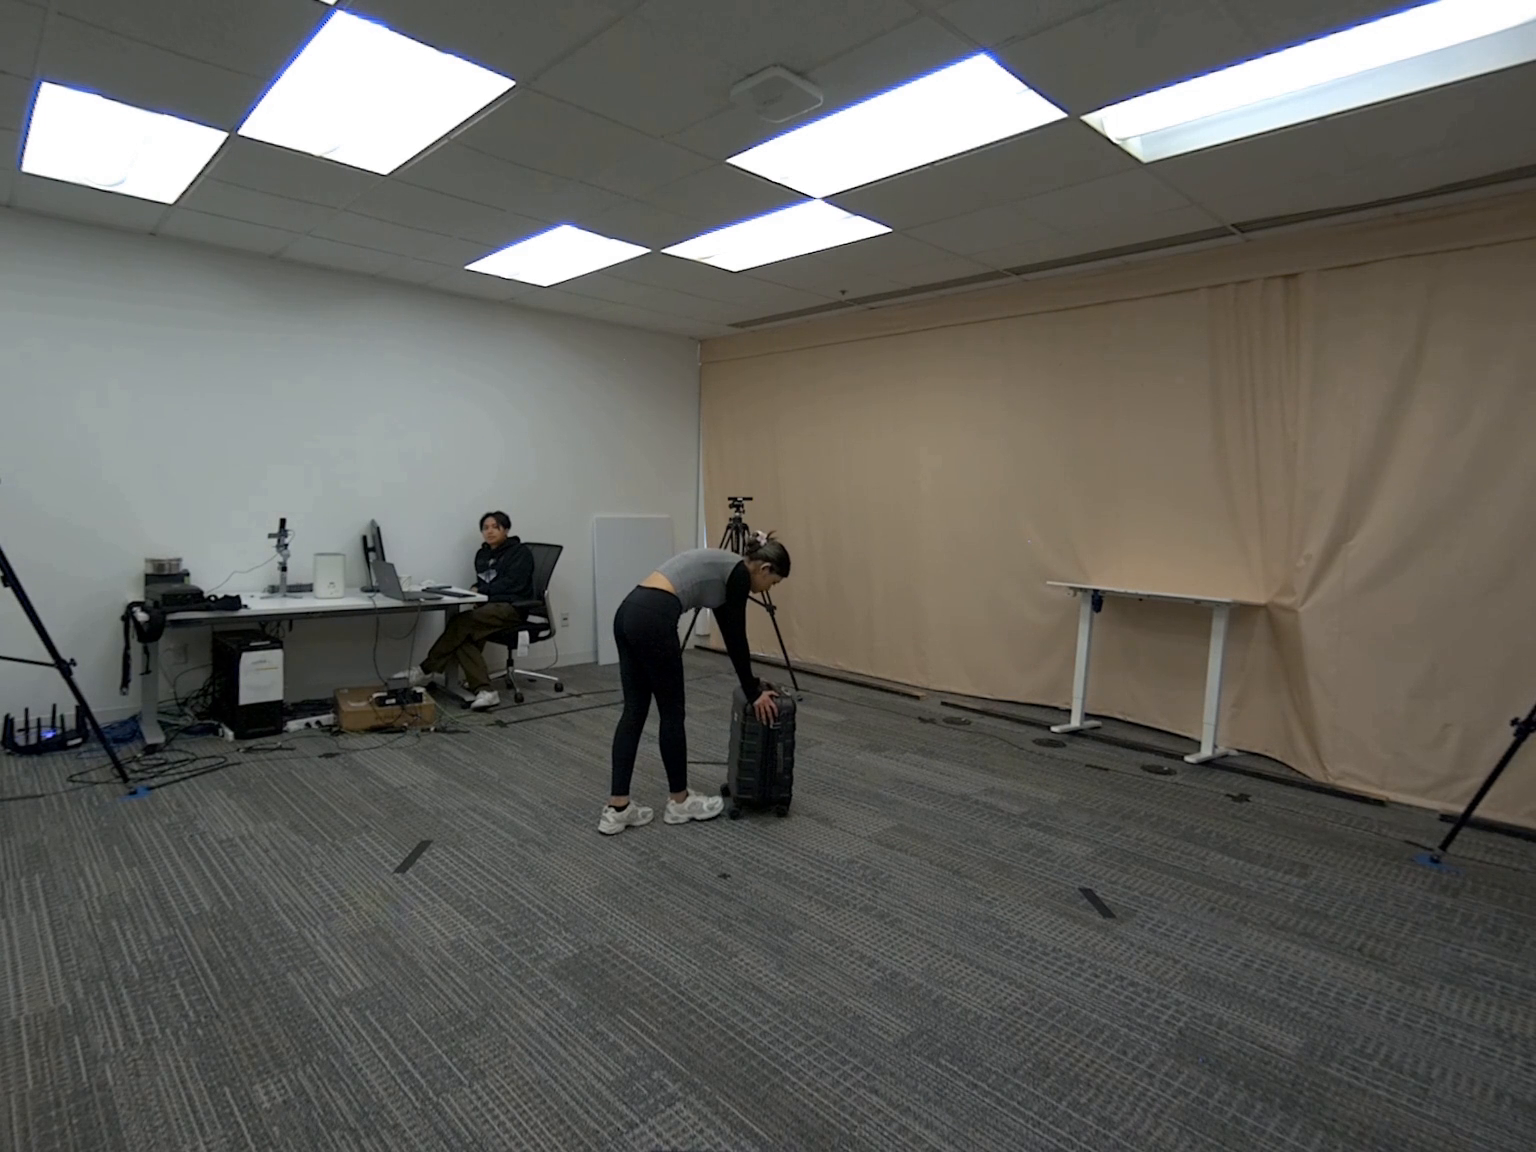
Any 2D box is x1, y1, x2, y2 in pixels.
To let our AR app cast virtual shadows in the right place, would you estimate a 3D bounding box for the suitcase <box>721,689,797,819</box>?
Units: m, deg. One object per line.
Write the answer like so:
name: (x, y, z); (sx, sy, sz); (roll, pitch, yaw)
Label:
suitcase: (-0.036, 0.770, 3.830); (0.246, 0.548, 0.380); (2, 4, -12)
